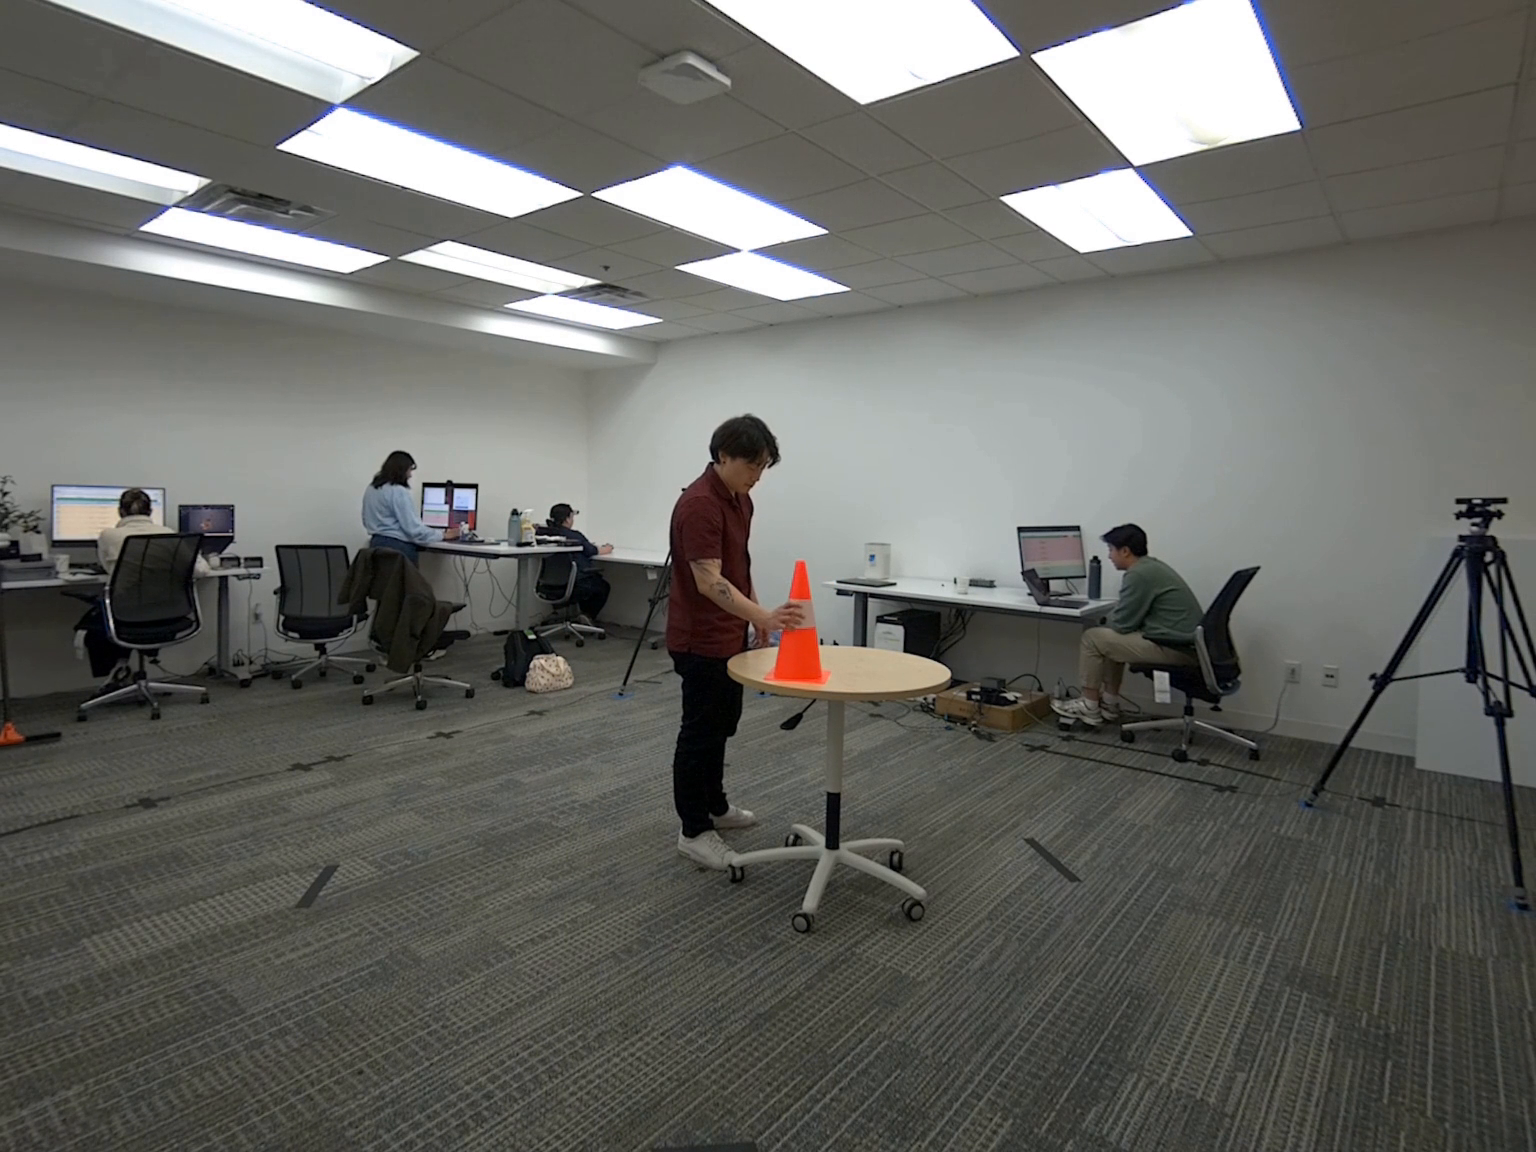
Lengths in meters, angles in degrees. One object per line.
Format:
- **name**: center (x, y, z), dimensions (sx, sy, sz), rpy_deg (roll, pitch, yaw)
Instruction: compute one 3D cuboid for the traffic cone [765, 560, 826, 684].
- **traffic cone**: center (0.094, 0.141, 2.786), dimensions (0.207, 0.382, 0.202), rpy_deg (1, 4, 8)
